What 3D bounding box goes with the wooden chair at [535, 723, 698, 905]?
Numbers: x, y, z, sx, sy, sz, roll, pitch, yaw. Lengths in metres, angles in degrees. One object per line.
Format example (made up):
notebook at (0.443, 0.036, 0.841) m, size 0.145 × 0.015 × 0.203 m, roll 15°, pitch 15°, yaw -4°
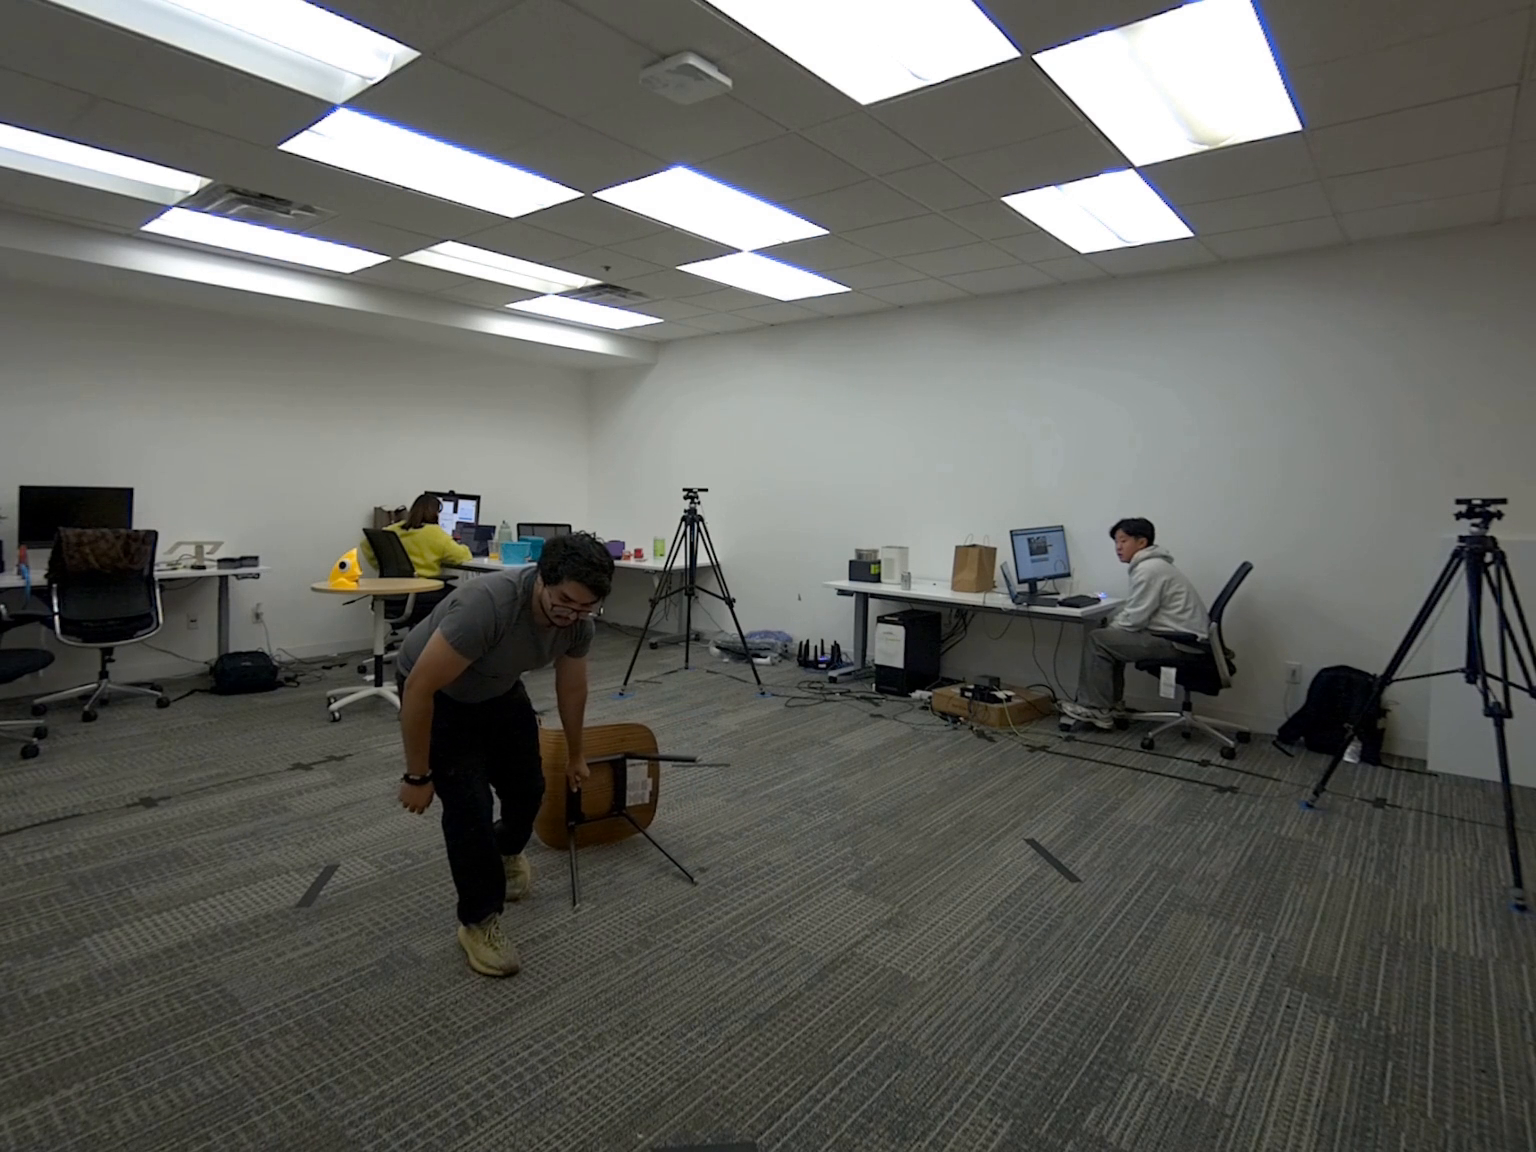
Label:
wooden chair at (-0.656, 0.815, 3.255) m, size 0.508 × 0.476 × 0.906 m, roll -2°, pitch 6°, yaw -34°
